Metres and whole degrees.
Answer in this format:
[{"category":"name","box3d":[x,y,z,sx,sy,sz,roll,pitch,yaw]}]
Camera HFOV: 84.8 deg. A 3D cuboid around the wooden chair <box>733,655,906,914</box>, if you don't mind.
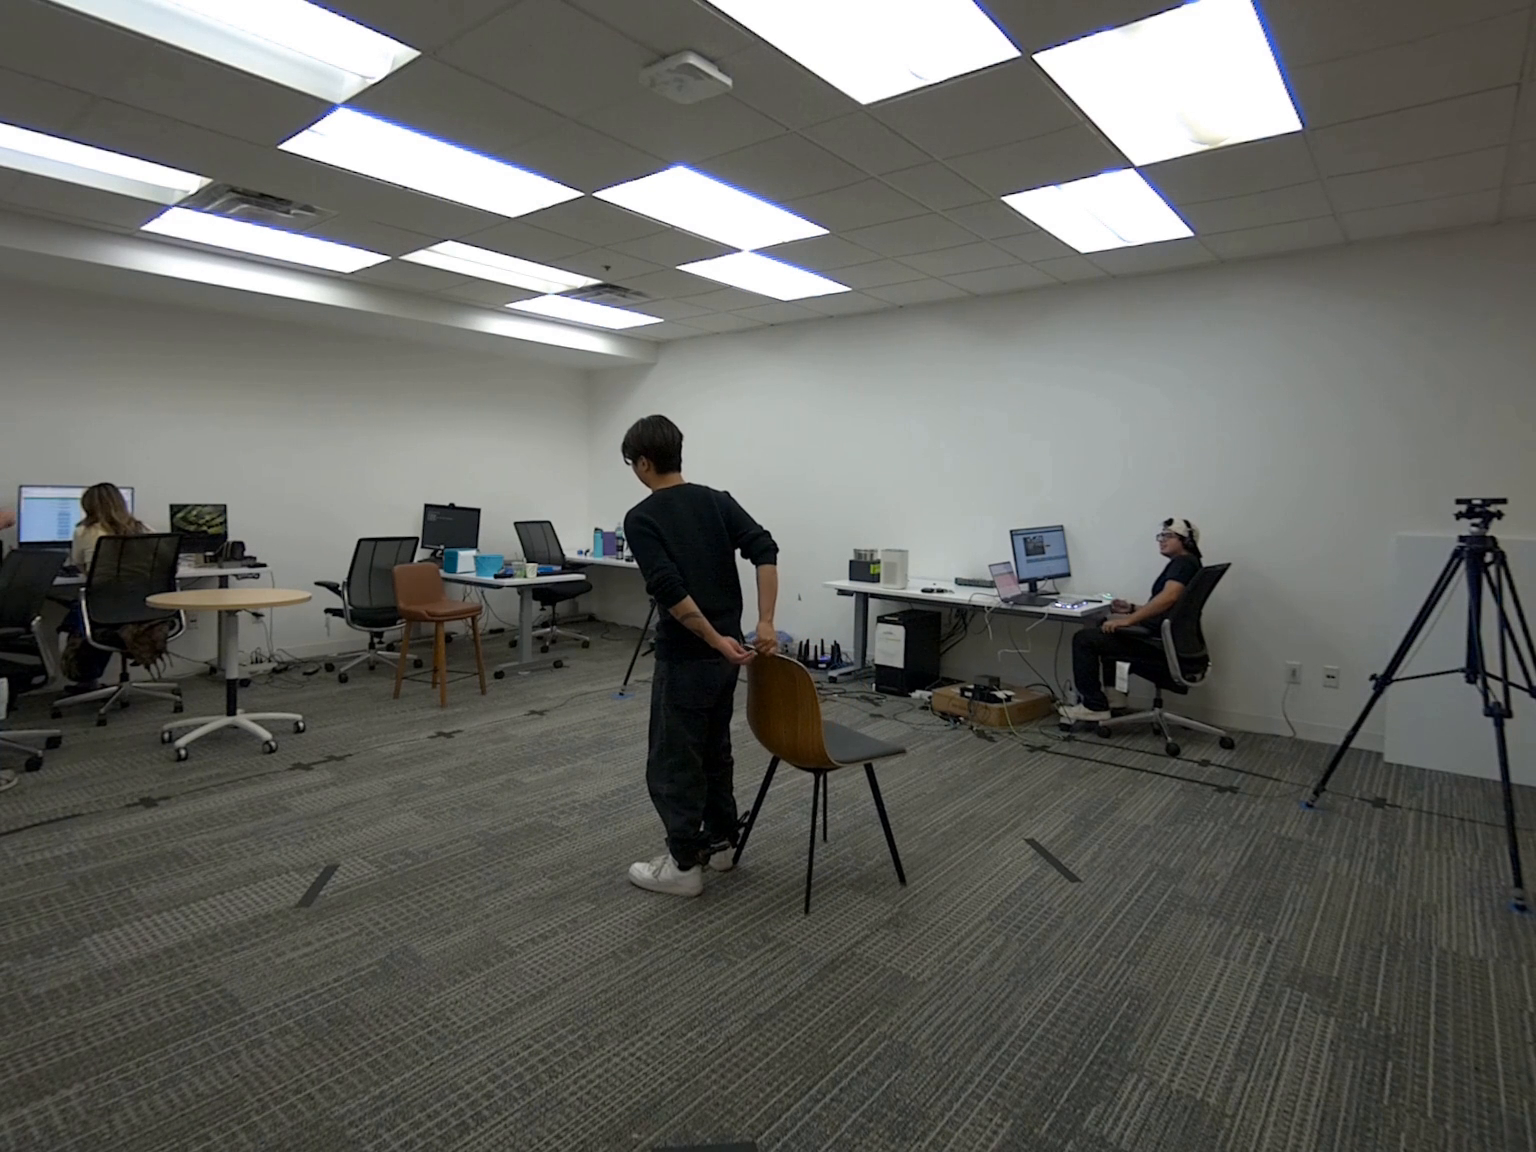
[{"category":"wooden chair","box3d":[0.189,0.660,3.065,0.509,0.873,0.493,-6,6,-34]}]
